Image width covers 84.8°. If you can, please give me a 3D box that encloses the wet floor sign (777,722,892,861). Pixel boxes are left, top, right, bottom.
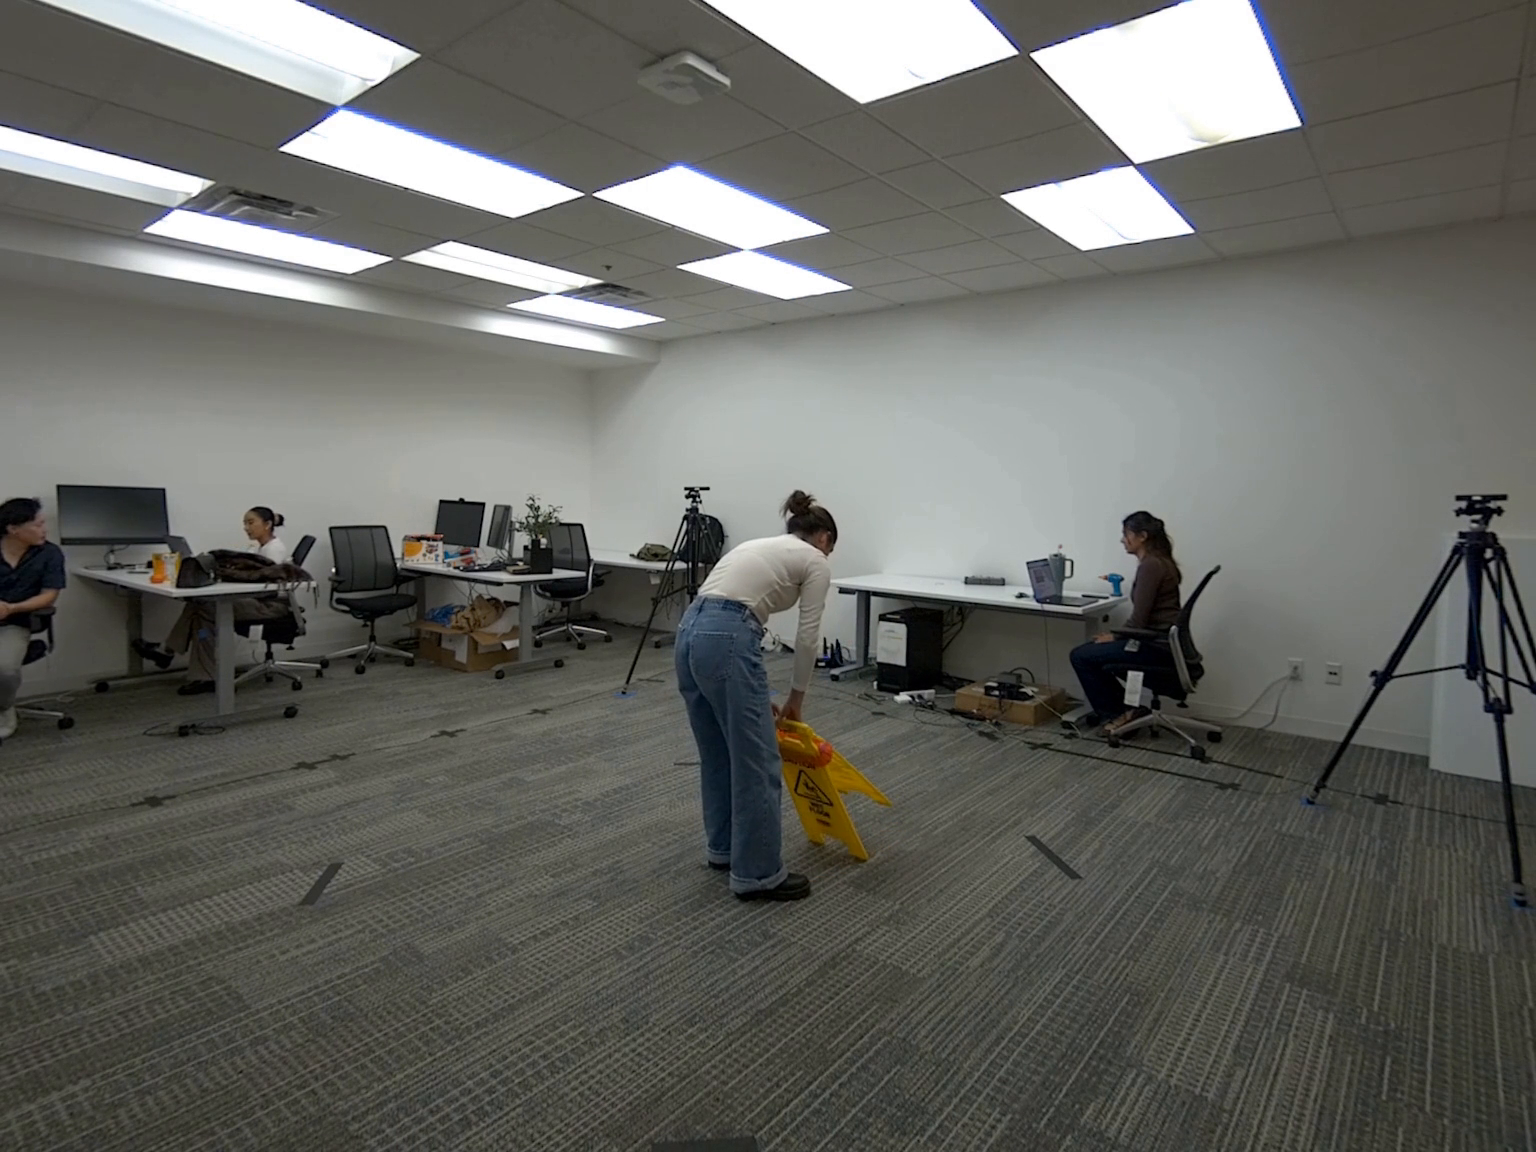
[{"bbox_3d":[0.189,0.748,3.180,0.291,0.623,0.291,2,44,41],"label":"wet floor sign"}]
